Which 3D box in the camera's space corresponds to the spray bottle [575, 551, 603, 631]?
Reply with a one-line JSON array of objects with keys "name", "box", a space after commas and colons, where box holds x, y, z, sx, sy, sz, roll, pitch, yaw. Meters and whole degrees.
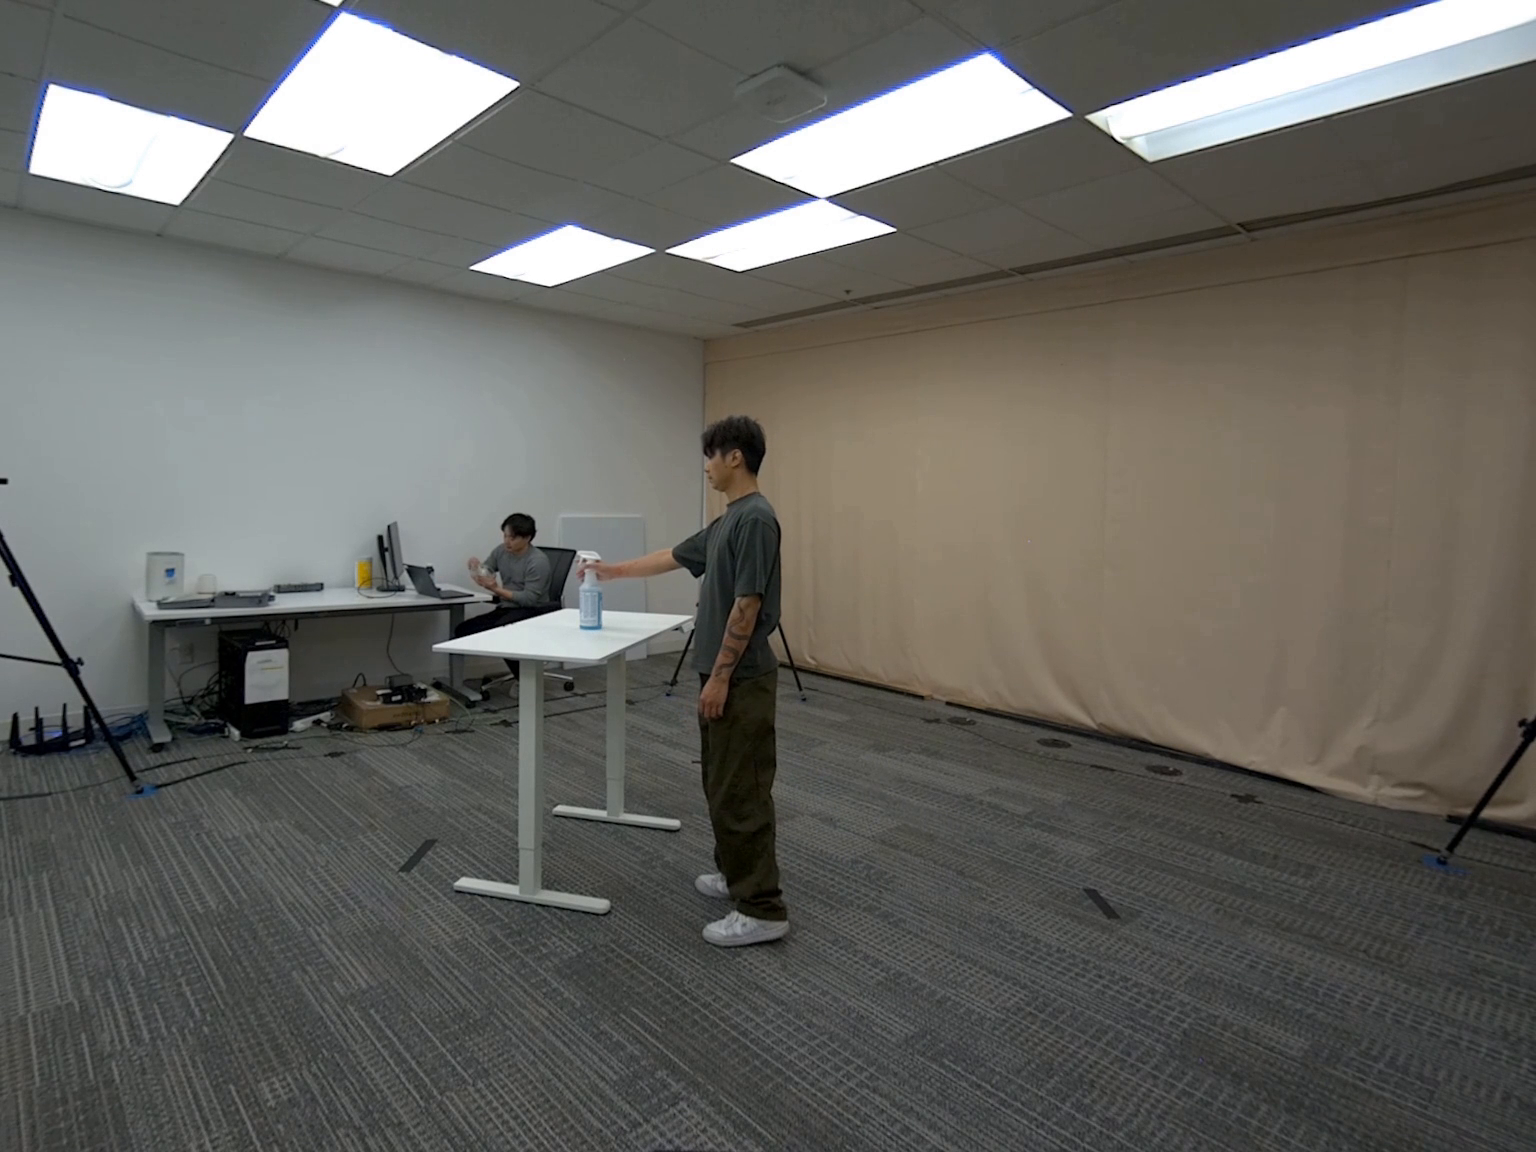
[{"name": "spray bottle", "box": [-0.690, 0.057, 3.225, 0.092, 0.297, 0.085, 0, 3, 31]}]
